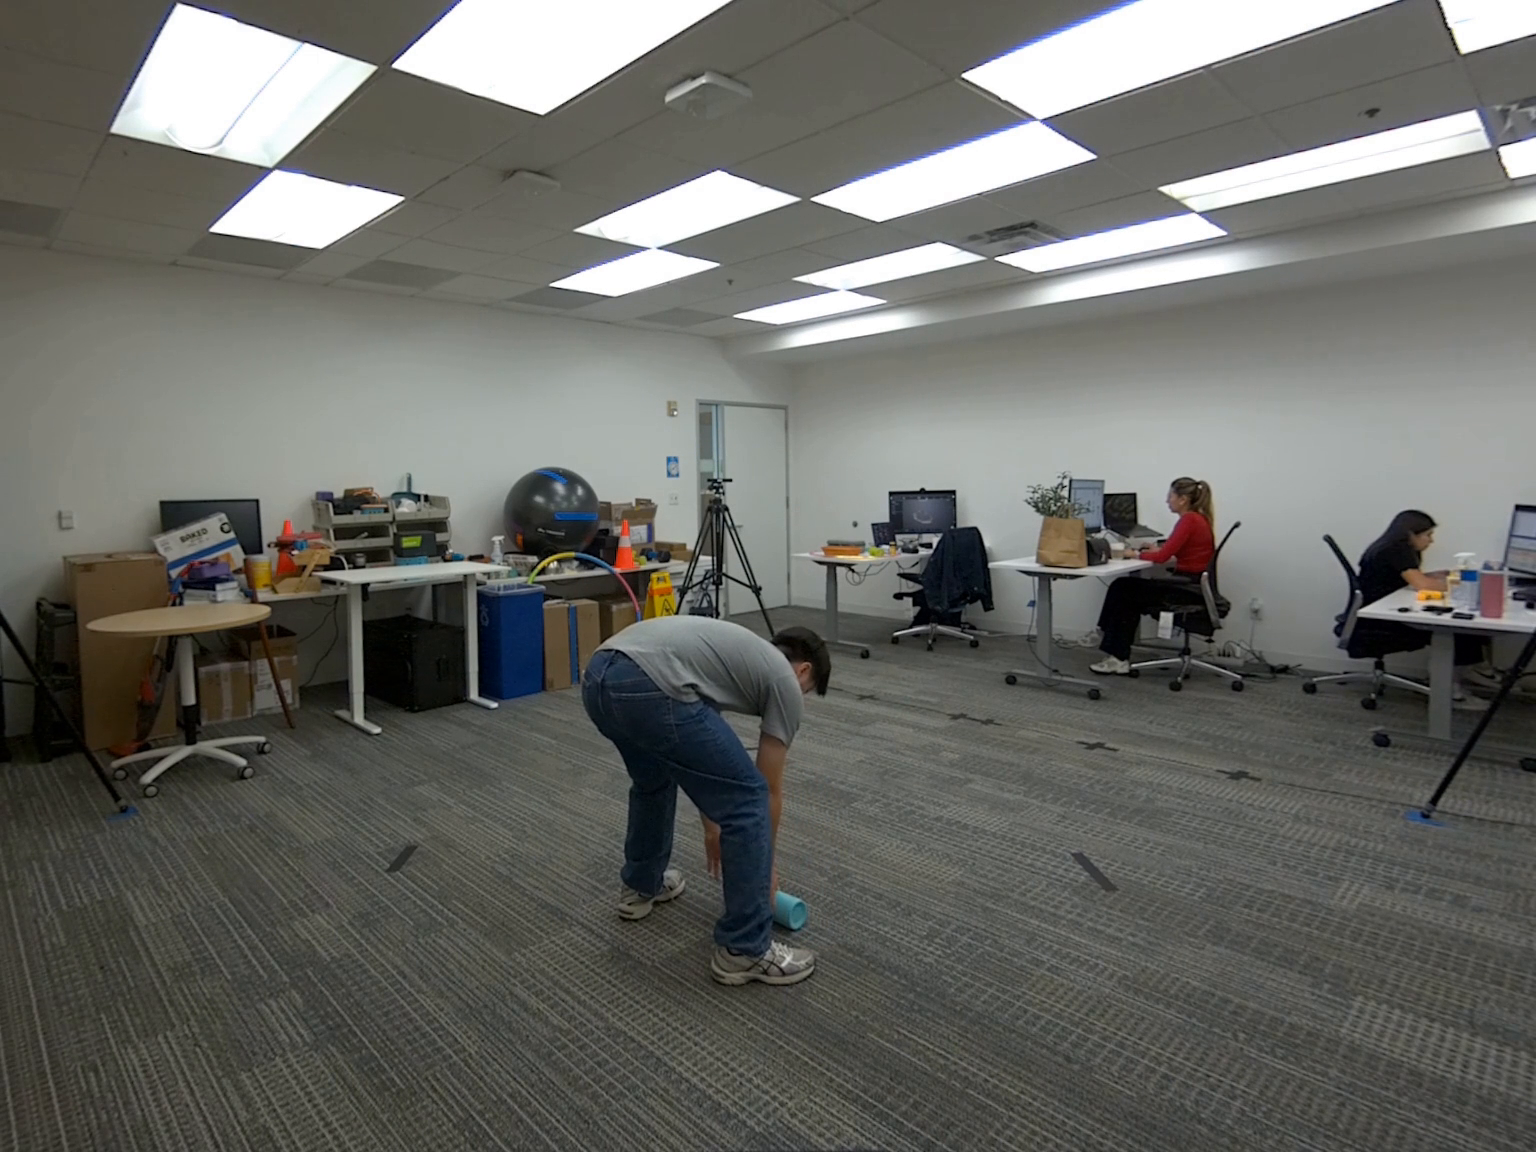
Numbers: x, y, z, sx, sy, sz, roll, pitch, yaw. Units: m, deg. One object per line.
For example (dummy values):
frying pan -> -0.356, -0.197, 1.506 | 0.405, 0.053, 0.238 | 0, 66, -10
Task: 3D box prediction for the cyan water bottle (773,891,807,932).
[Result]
cyan water bottle -> -0.004, 1.037, 2.743 | 0.292, 0.092, 0.090 | 4, 7, 44
